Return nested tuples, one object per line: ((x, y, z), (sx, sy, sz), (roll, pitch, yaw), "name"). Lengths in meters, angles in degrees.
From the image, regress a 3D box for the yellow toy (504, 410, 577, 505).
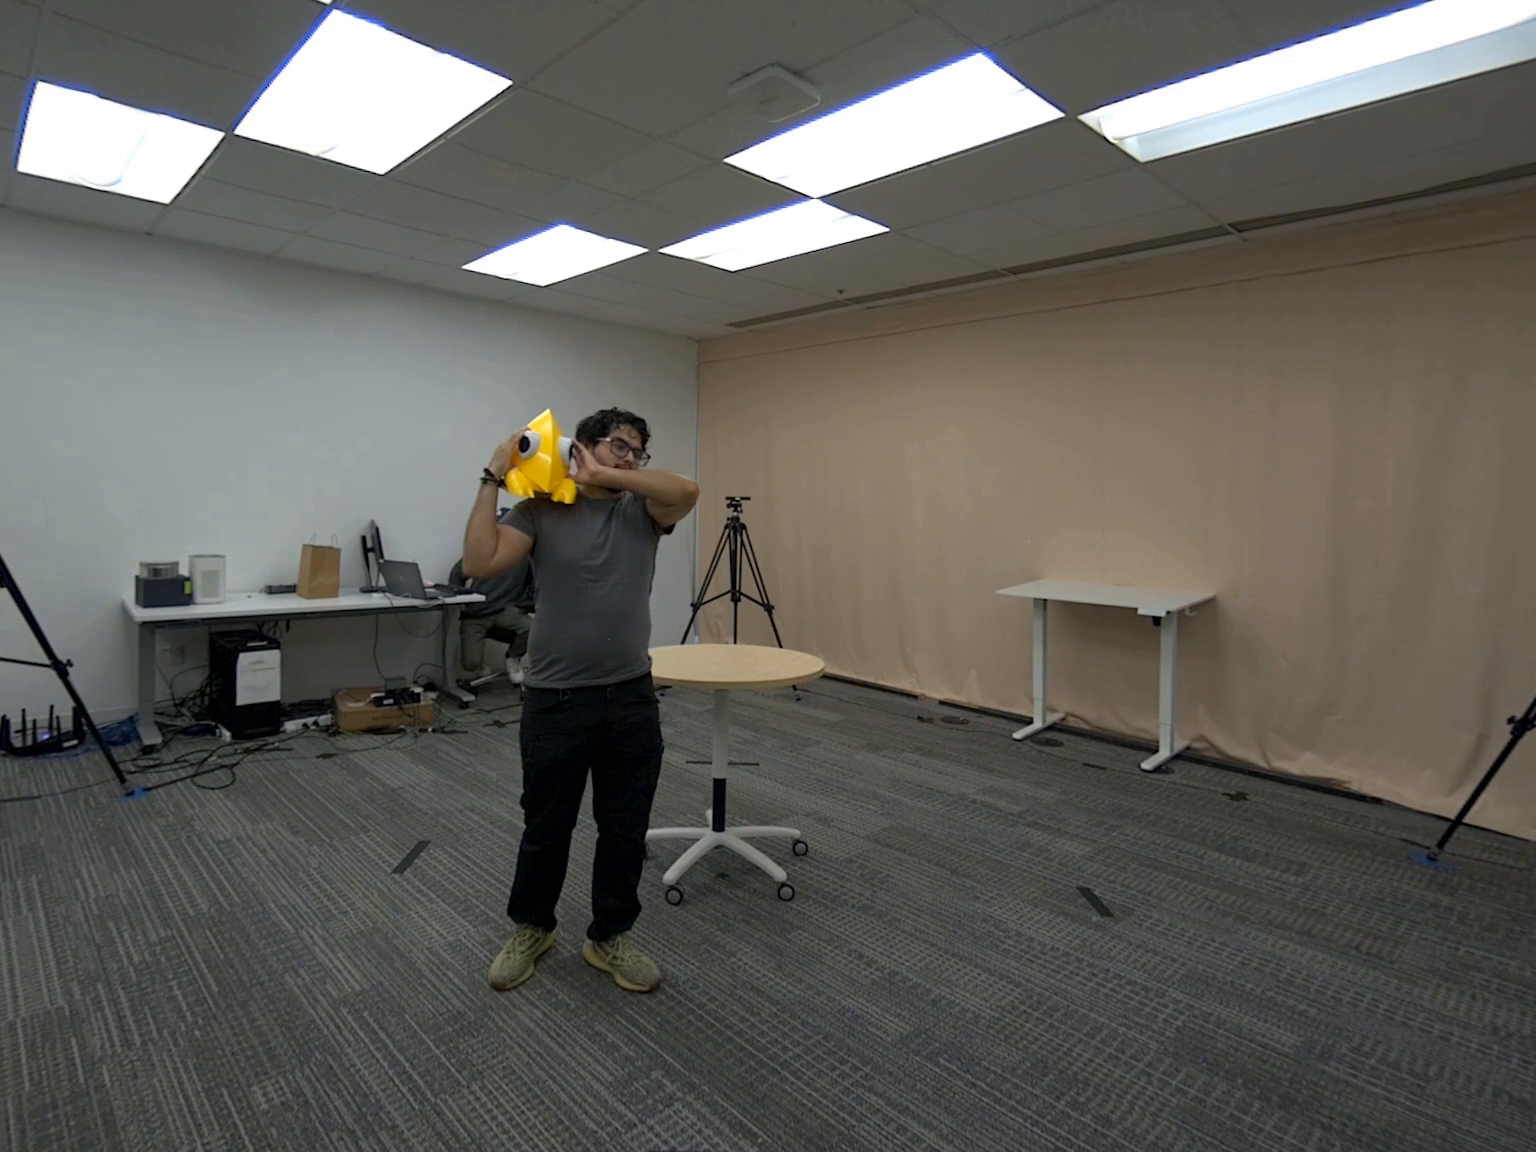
((-0.613, -0.335, 2.309), (0.200, 0.229, 0.198), (8, 13, -29), "yellow toy")
